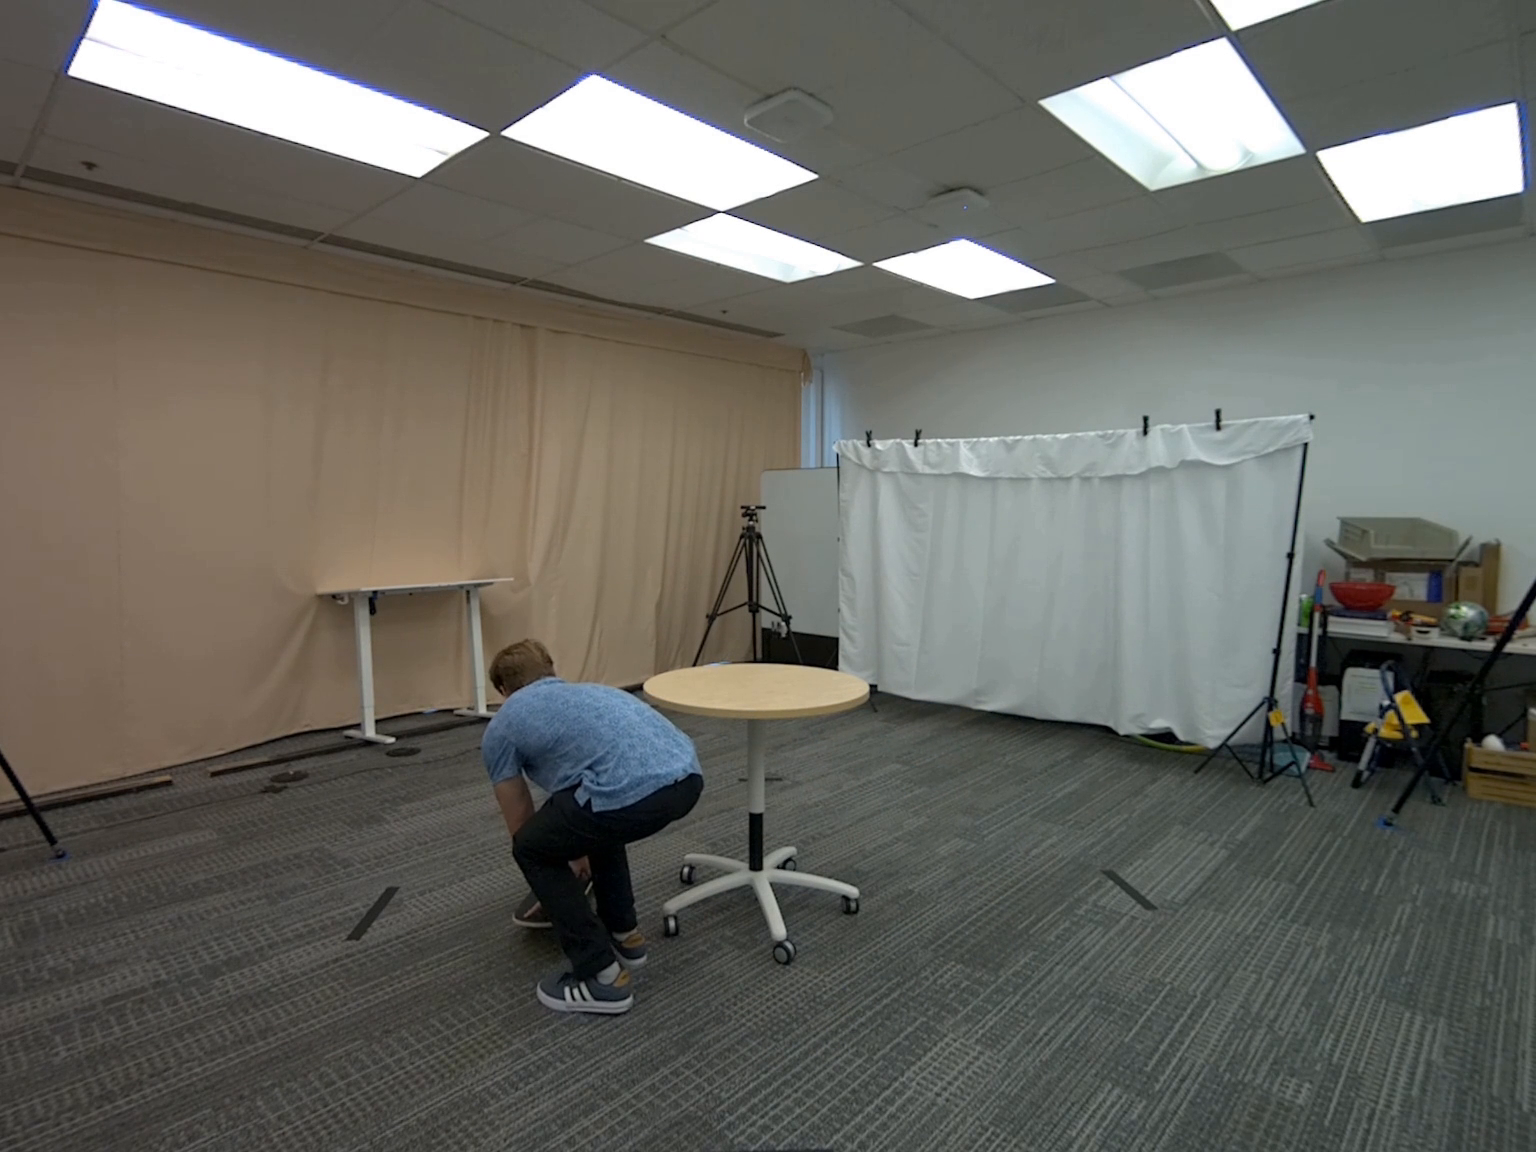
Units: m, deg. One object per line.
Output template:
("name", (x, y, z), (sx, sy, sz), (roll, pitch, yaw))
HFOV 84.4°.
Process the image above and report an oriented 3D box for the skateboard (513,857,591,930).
("skateboard", (-0.697, 1.091, 2.991), (0.194, 0.110, 0.782), (0, 5, 4))
